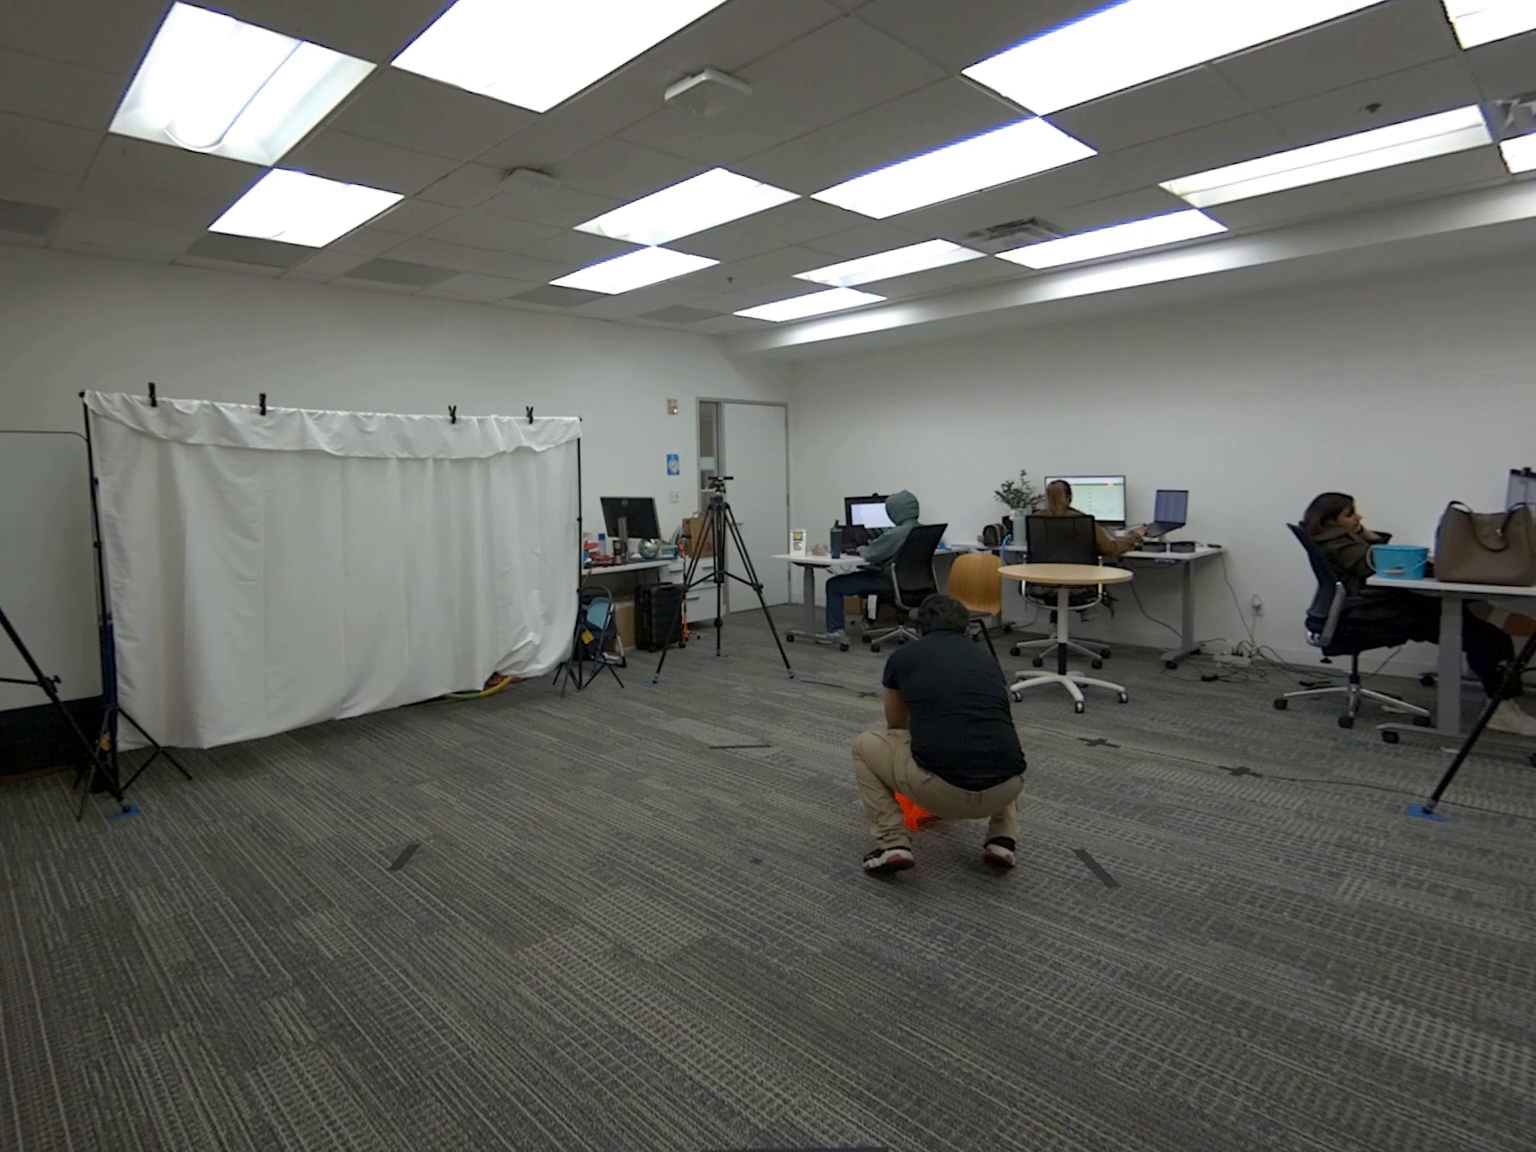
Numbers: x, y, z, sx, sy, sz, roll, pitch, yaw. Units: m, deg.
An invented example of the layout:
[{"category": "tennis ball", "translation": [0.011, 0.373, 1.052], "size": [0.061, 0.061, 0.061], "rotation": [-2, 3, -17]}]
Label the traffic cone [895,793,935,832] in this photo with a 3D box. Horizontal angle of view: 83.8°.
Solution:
[{"category": "traffic cone", "translation": [0.699, 0.945, 3.494], "size": [0.373, 0.204, 0.209], "rotation": [10, 5, -27]}]
